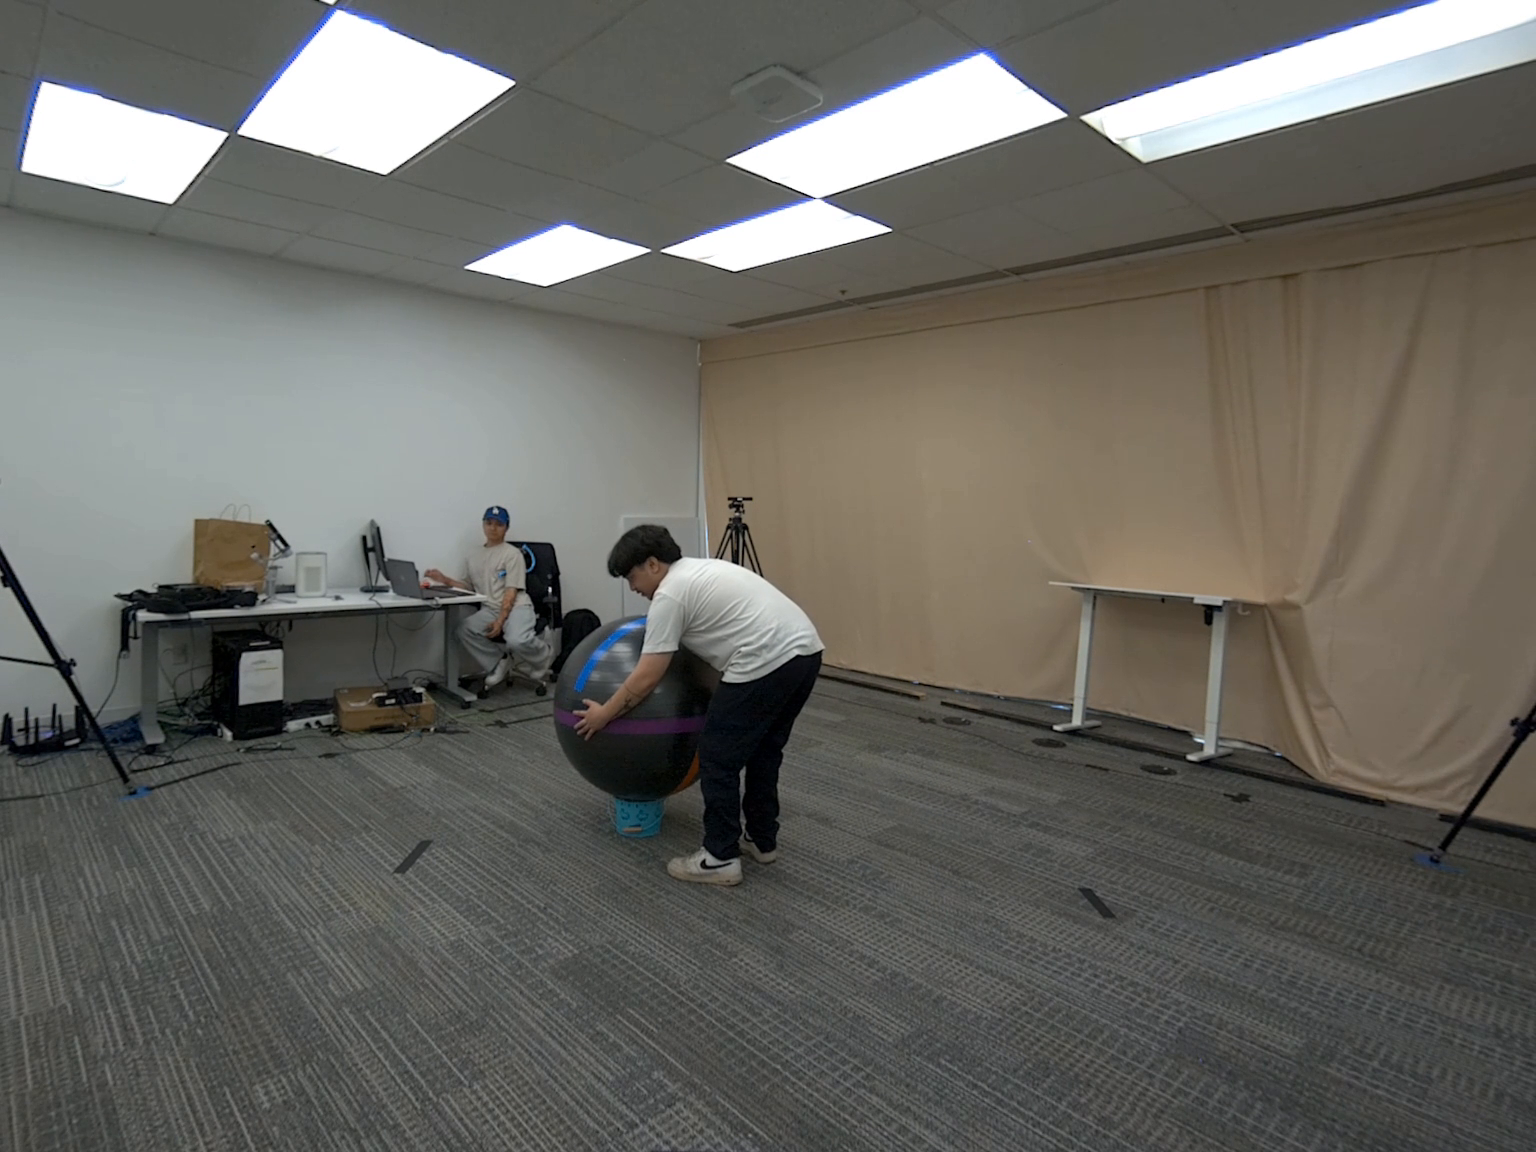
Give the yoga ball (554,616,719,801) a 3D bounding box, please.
[{"bbox_3d":[-0.524,0.544,3.534,0.757,0.756,0.761,1,4,-1],"label":"yoga ball"}]
